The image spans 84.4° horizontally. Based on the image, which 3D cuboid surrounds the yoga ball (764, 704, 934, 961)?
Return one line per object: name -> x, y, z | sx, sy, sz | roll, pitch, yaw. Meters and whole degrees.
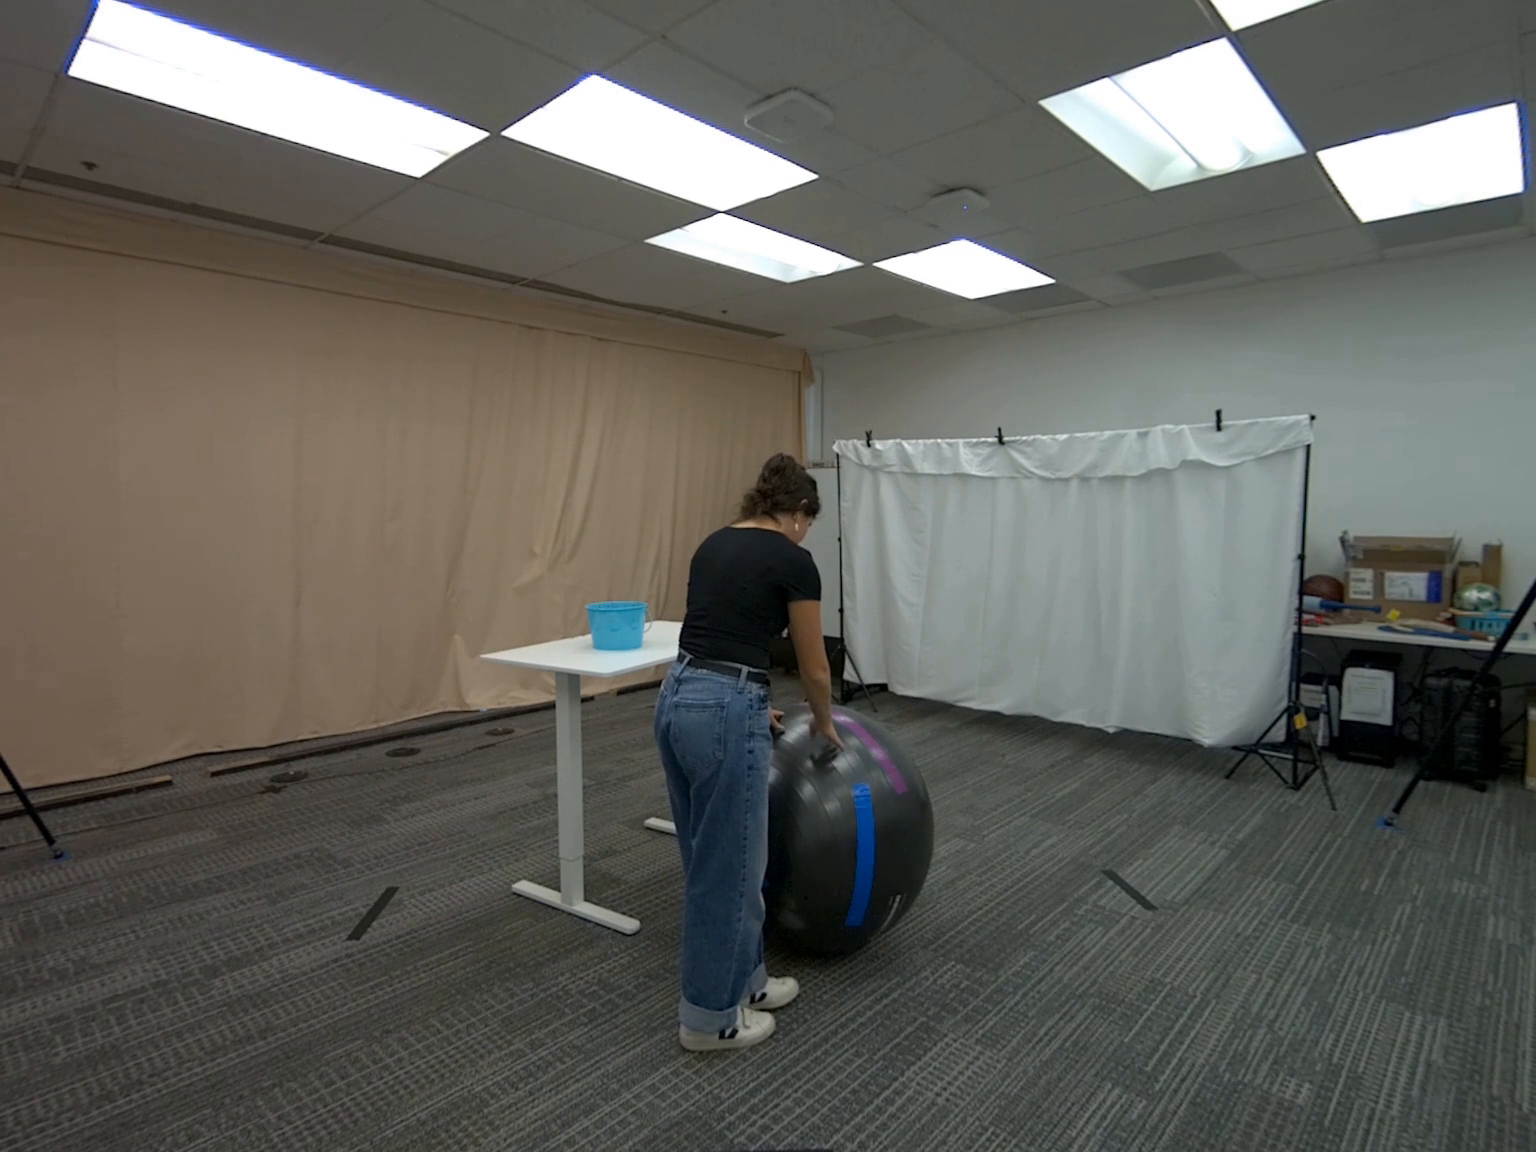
yoga ball -> 0.150, 0.800, 2.707 | 0.757, 0.756, 0.760 | 0, 4, -2
